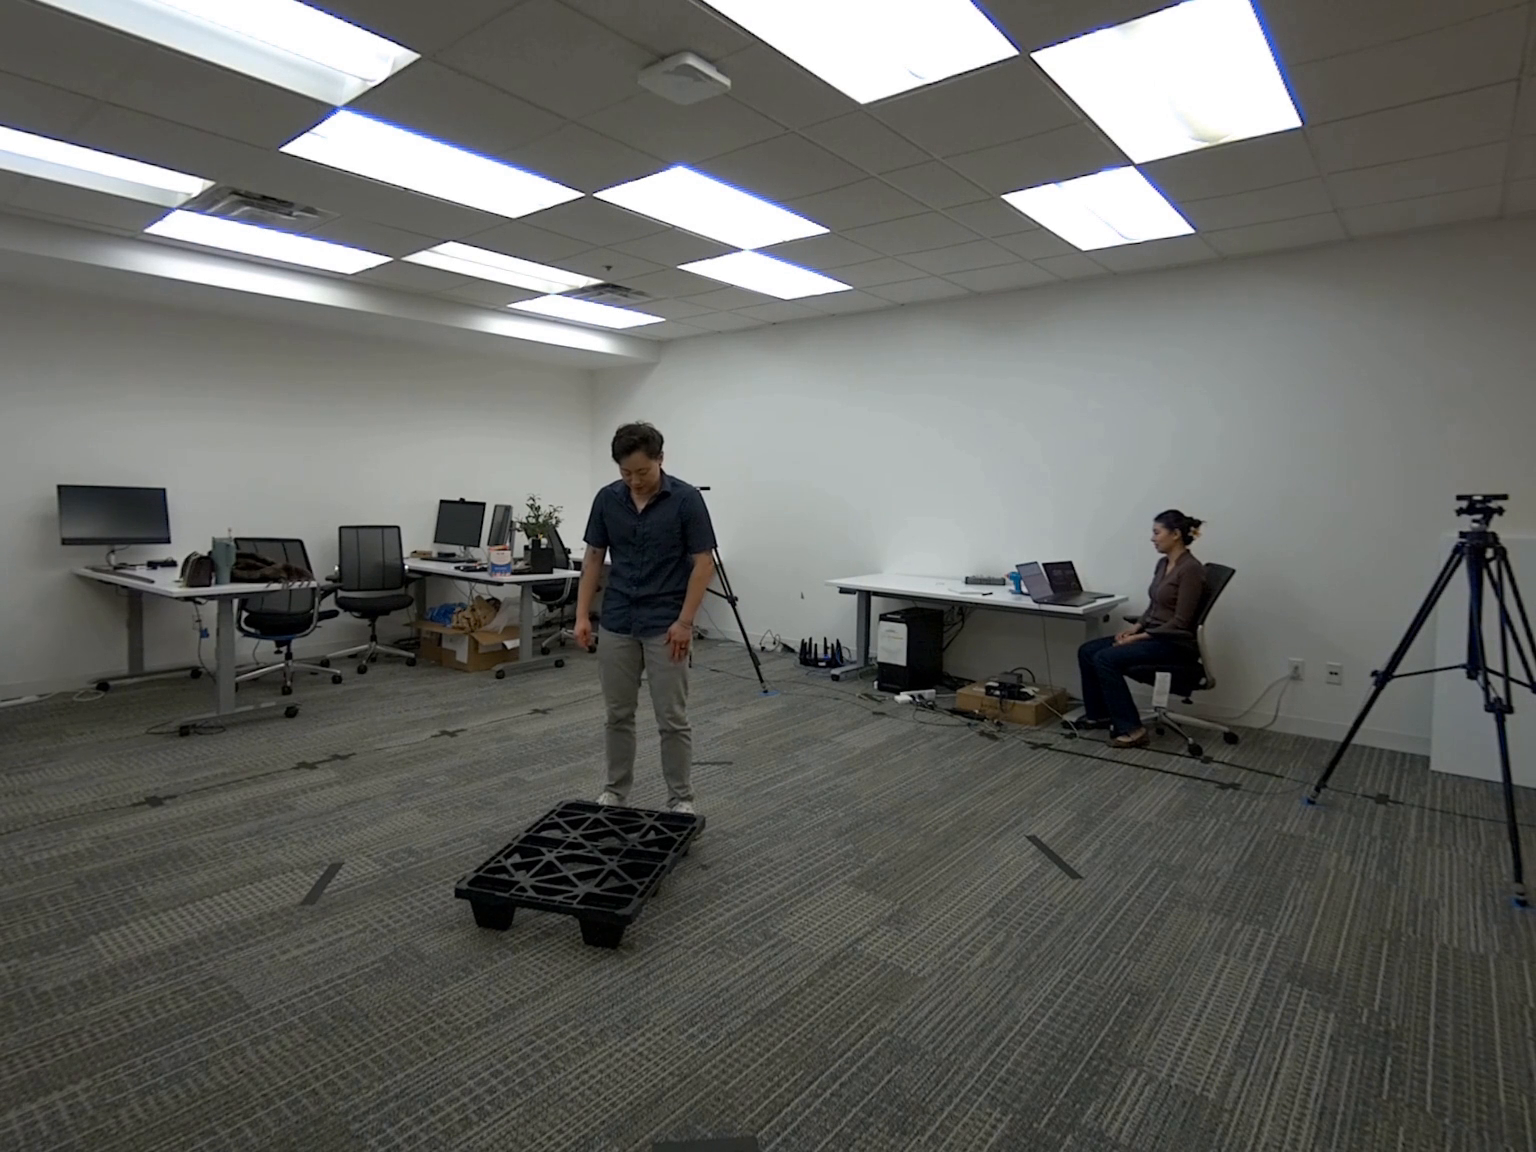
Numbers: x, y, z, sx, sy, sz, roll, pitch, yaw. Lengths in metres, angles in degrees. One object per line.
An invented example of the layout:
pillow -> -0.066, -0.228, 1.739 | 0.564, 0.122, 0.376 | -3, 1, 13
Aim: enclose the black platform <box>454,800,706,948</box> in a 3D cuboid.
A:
black platform -> -0.621, 1.007, 2.955 | 0.615, 0.143, 0.796 | 1, 5, 13
